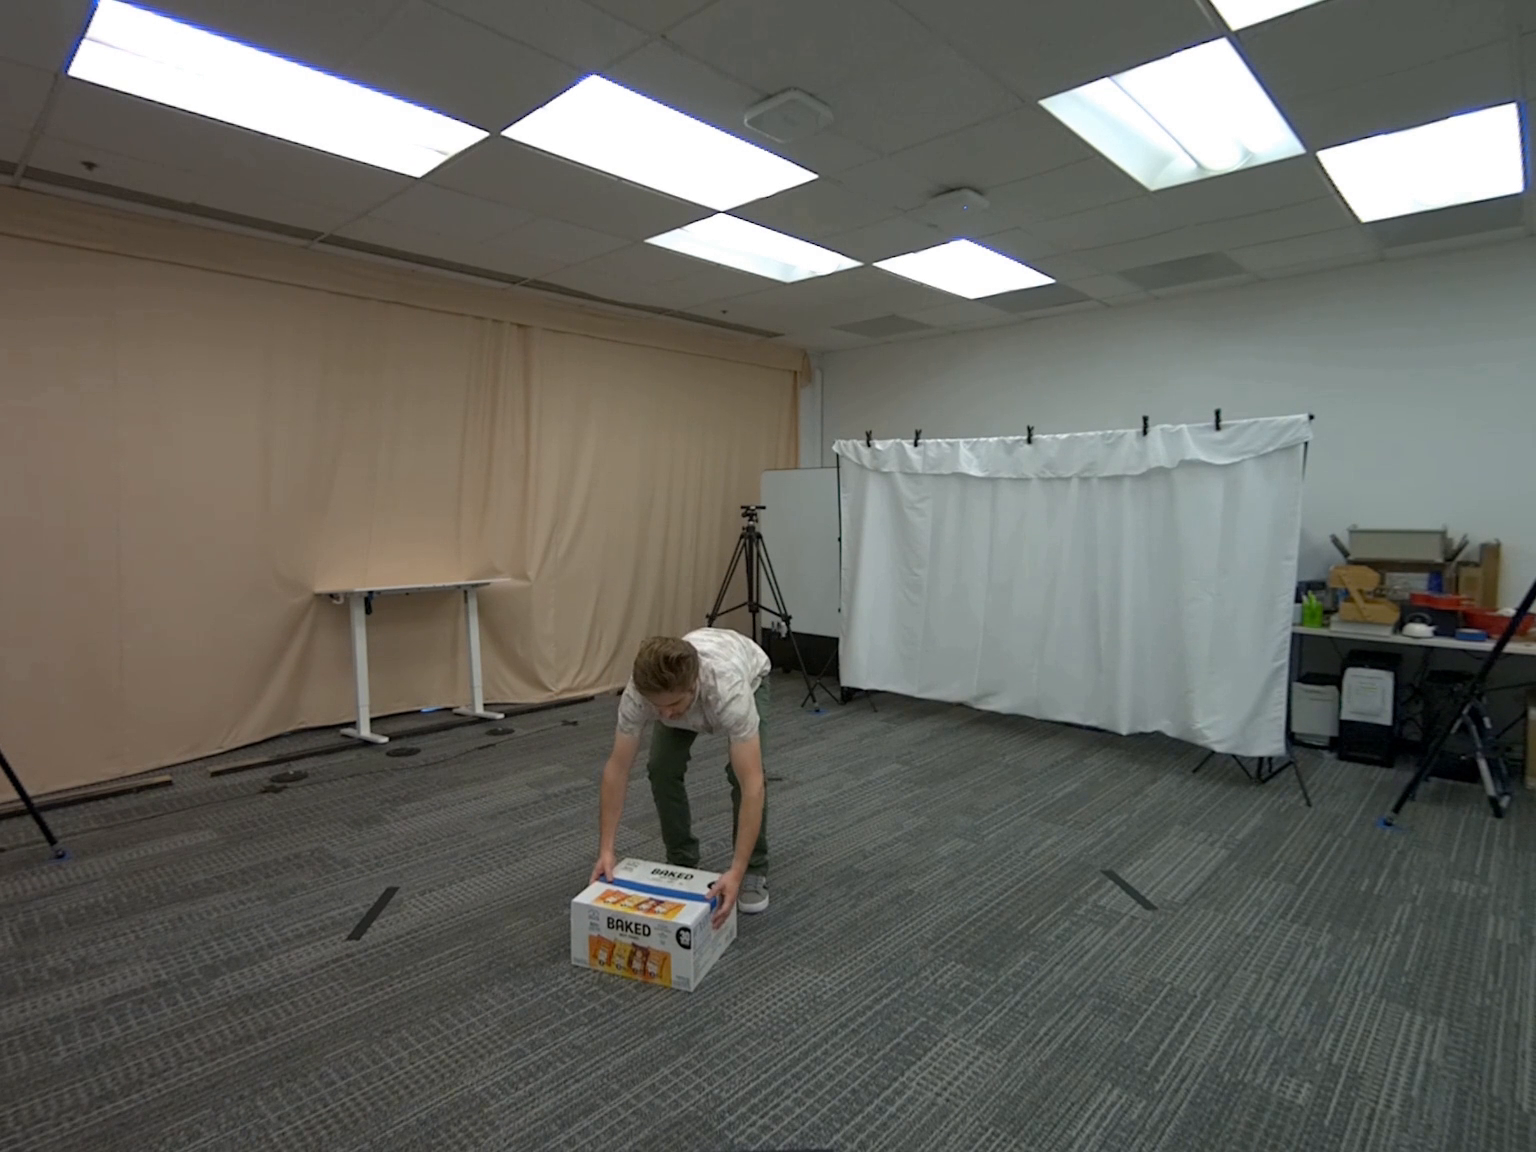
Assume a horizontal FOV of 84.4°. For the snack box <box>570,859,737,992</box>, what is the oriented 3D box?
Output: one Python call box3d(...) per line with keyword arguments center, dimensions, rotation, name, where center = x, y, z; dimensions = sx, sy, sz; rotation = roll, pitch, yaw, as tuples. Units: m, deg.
box3d(center=(-0.346, 1.078, 2.622), dimensions=(0.414, 0.205, 0.333), rotation=(1, 5, 21), name="snack box")
